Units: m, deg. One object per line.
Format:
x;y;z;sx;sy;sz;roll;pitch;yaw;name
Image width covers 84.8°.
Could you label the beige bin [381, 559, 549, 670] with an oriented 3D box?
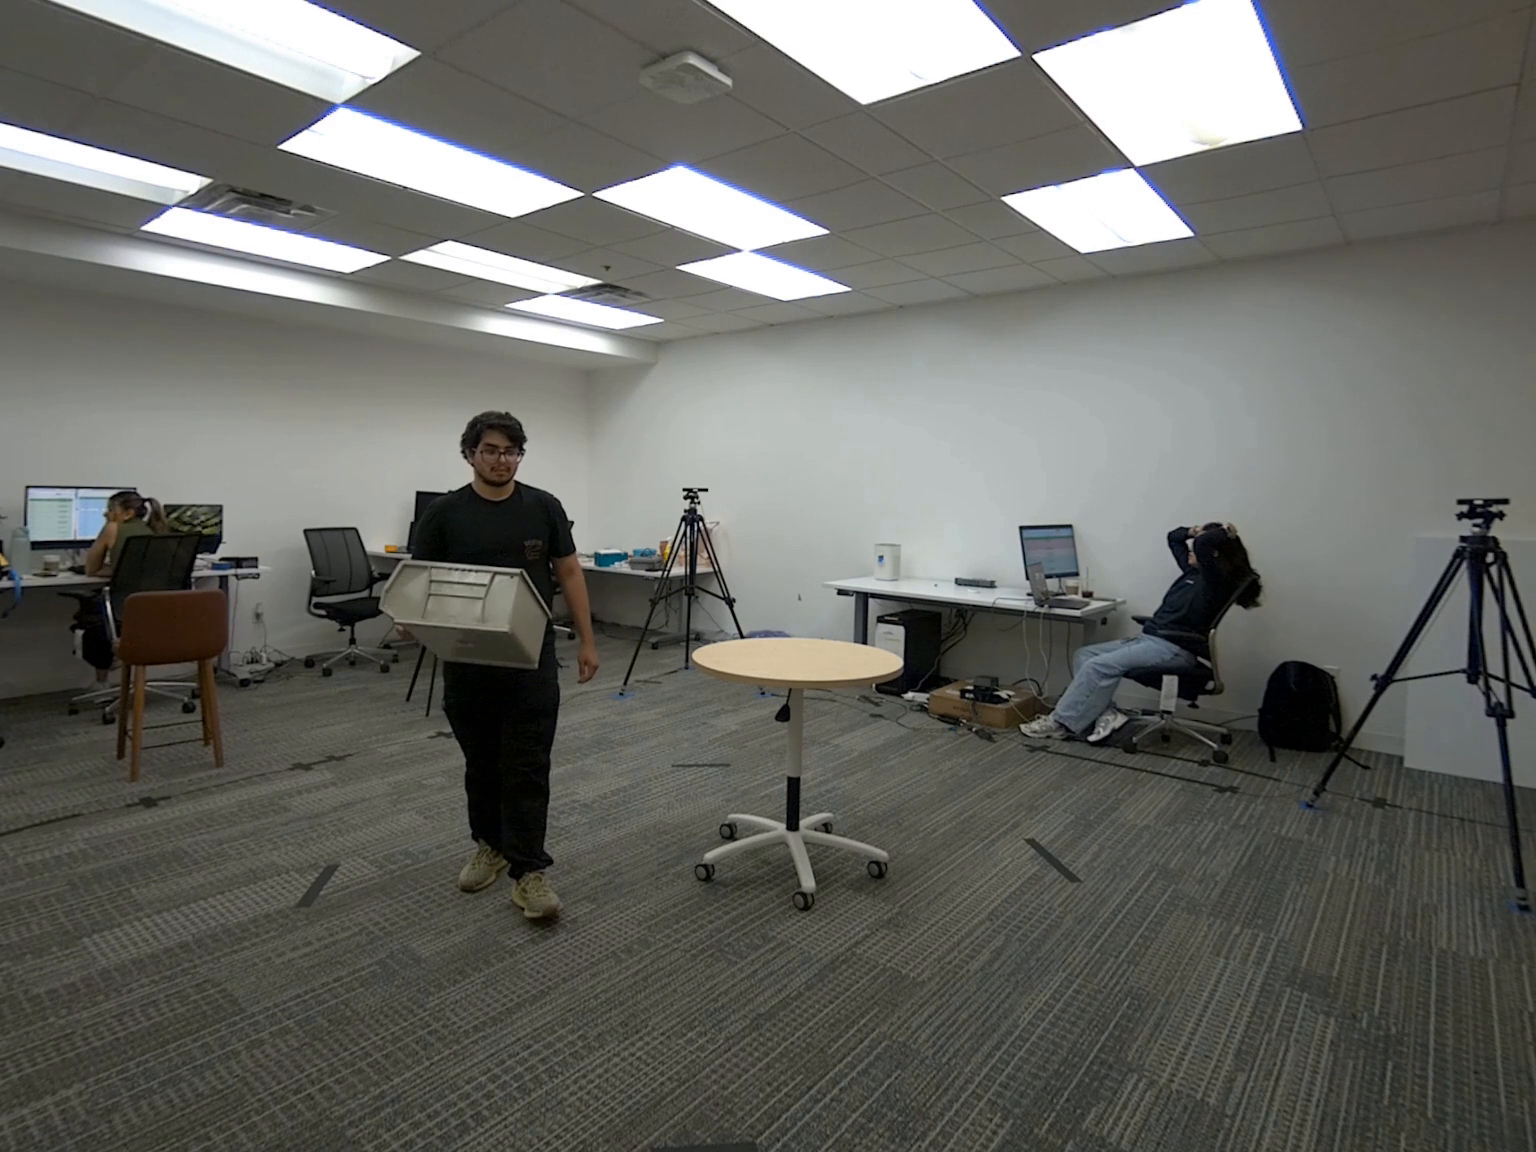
-0.899;0.118;2.515;0.378;0.192;0.414;6;-22;1;beige bin
